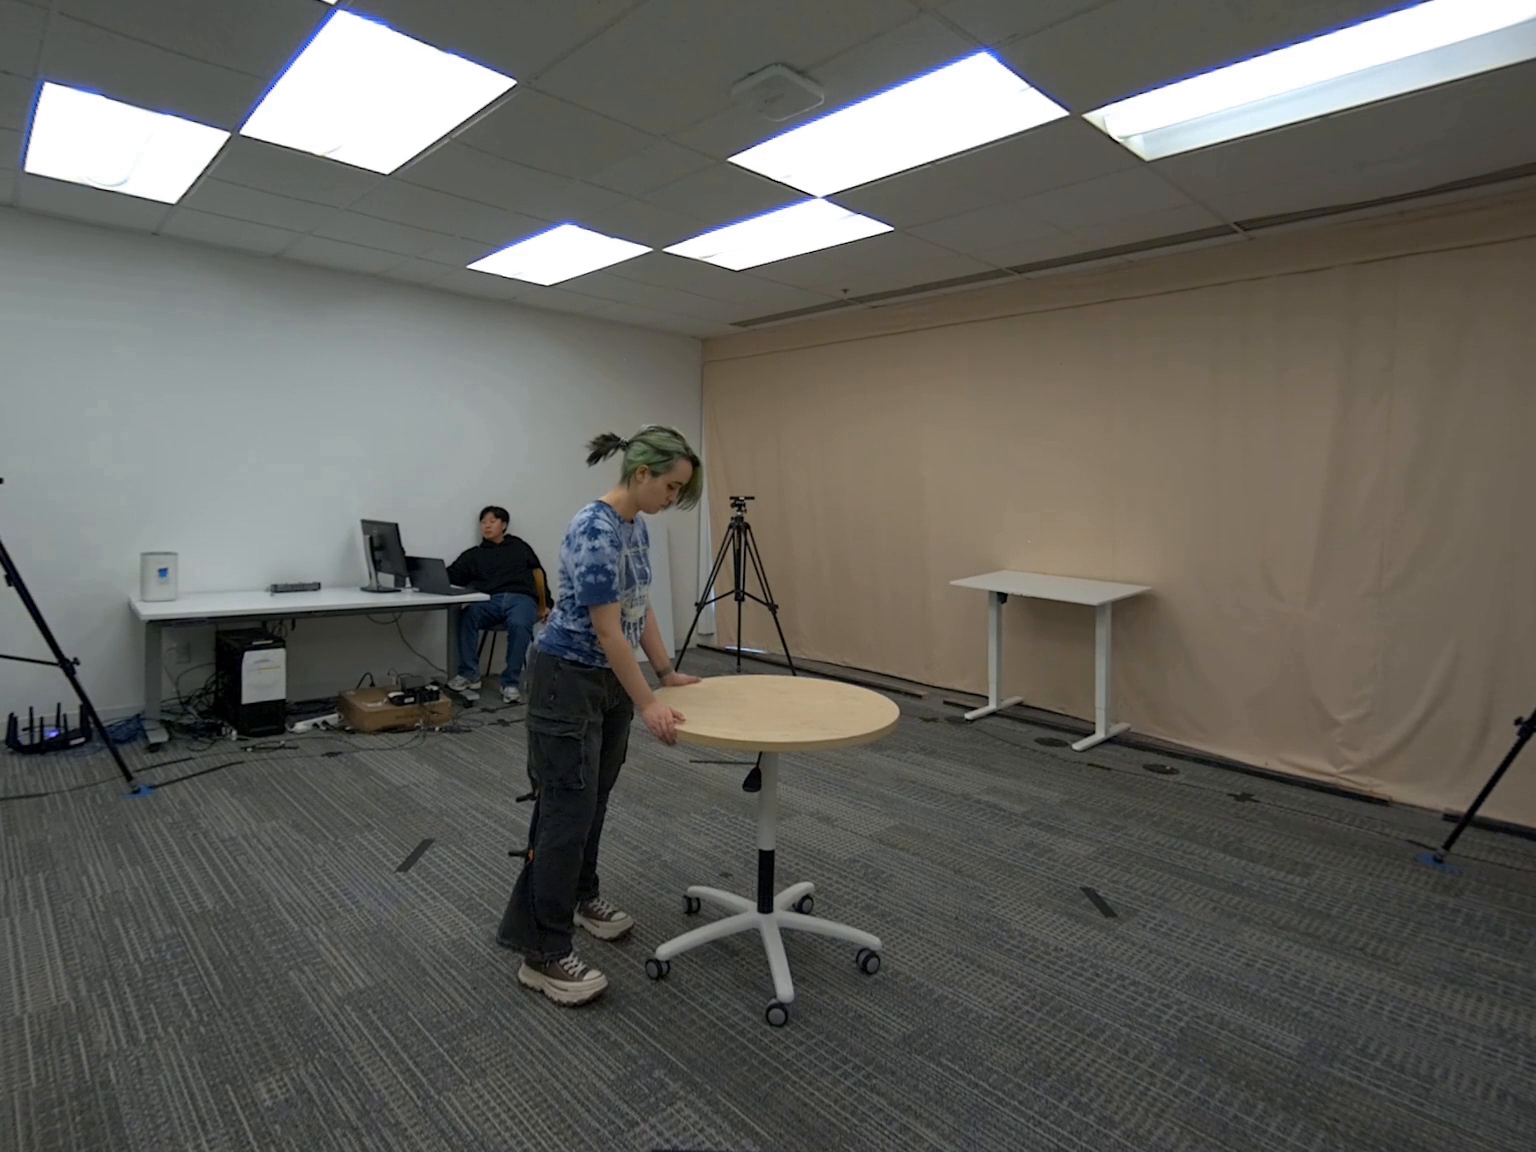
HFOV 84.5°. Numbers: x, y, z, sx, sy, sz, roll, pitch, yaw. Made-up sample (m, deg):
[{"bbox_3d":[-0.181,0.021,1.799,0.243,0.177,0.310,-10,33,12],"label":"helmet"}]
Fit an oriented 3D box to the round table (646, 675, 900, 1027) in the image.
[{"bbox_3d":[-0.009,0.774,2.537,0.763,0.792,0.767,1,4,-1],"label":"round table"}]
